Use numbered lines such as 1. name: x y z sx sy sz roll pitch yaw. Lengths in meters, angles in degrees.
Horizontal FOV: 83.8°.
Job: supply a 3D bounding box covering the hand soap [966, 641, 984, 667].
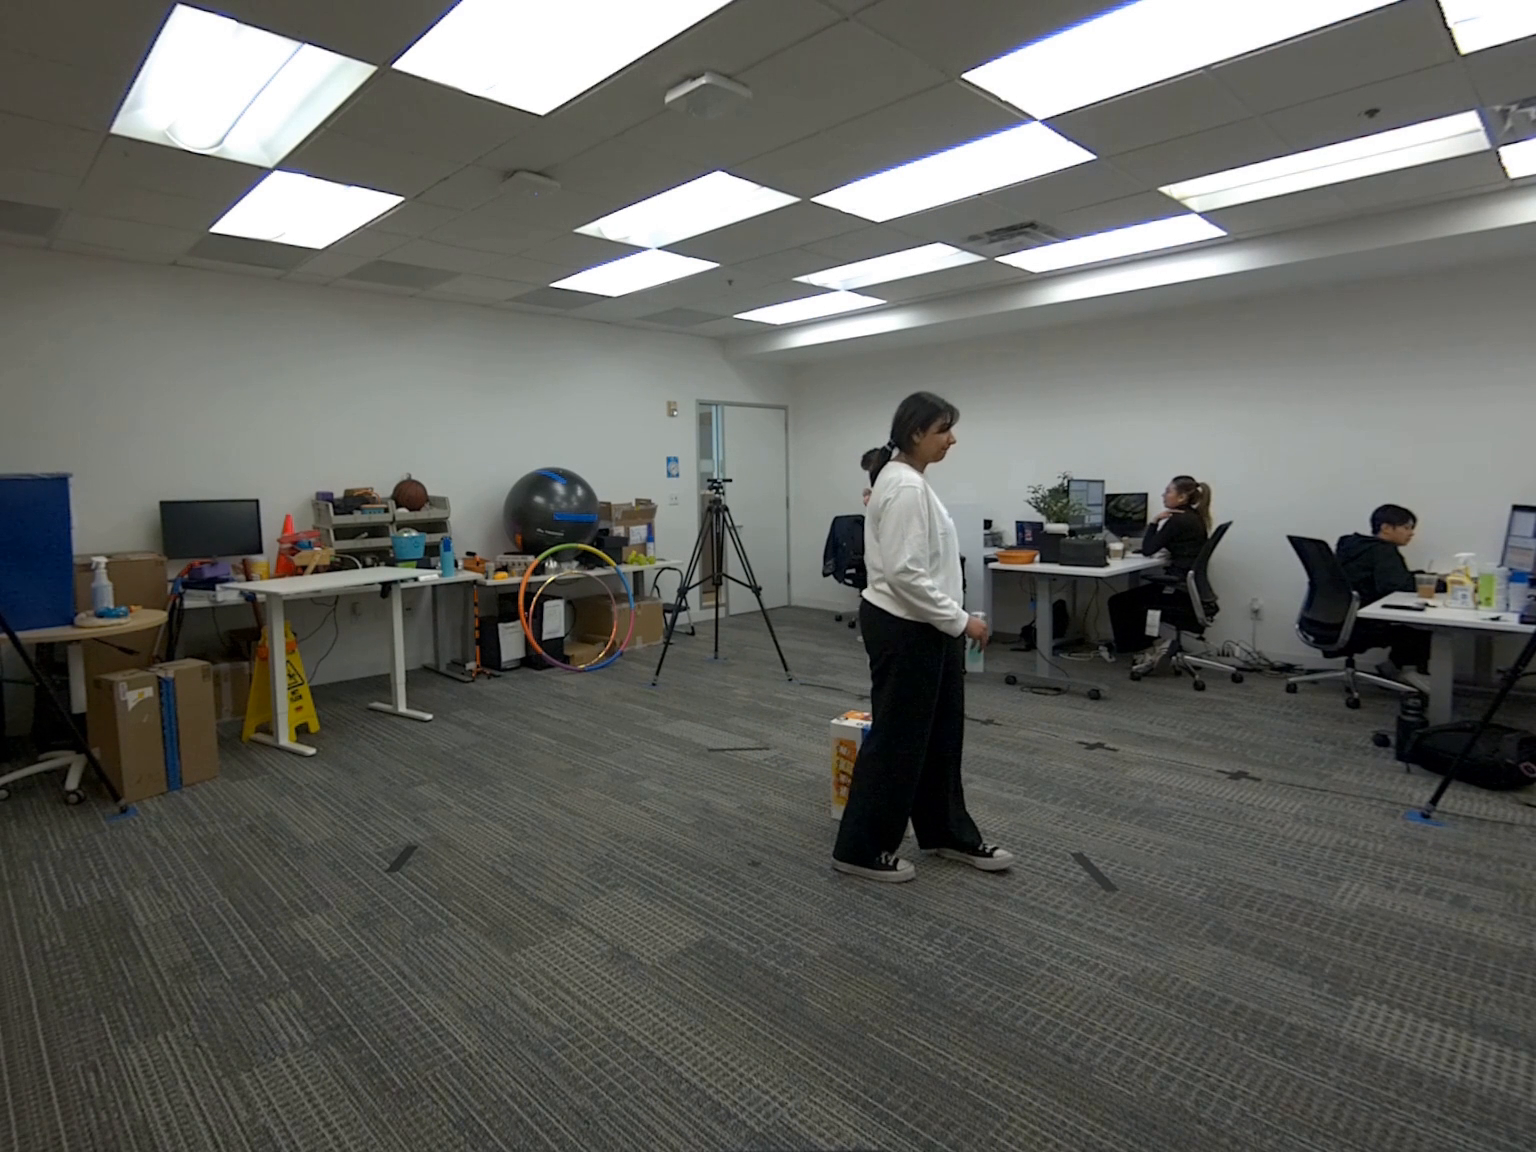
1. hand soap: 0.697 0.207 2.894 0.044 0.167 0.084 2 9 12
